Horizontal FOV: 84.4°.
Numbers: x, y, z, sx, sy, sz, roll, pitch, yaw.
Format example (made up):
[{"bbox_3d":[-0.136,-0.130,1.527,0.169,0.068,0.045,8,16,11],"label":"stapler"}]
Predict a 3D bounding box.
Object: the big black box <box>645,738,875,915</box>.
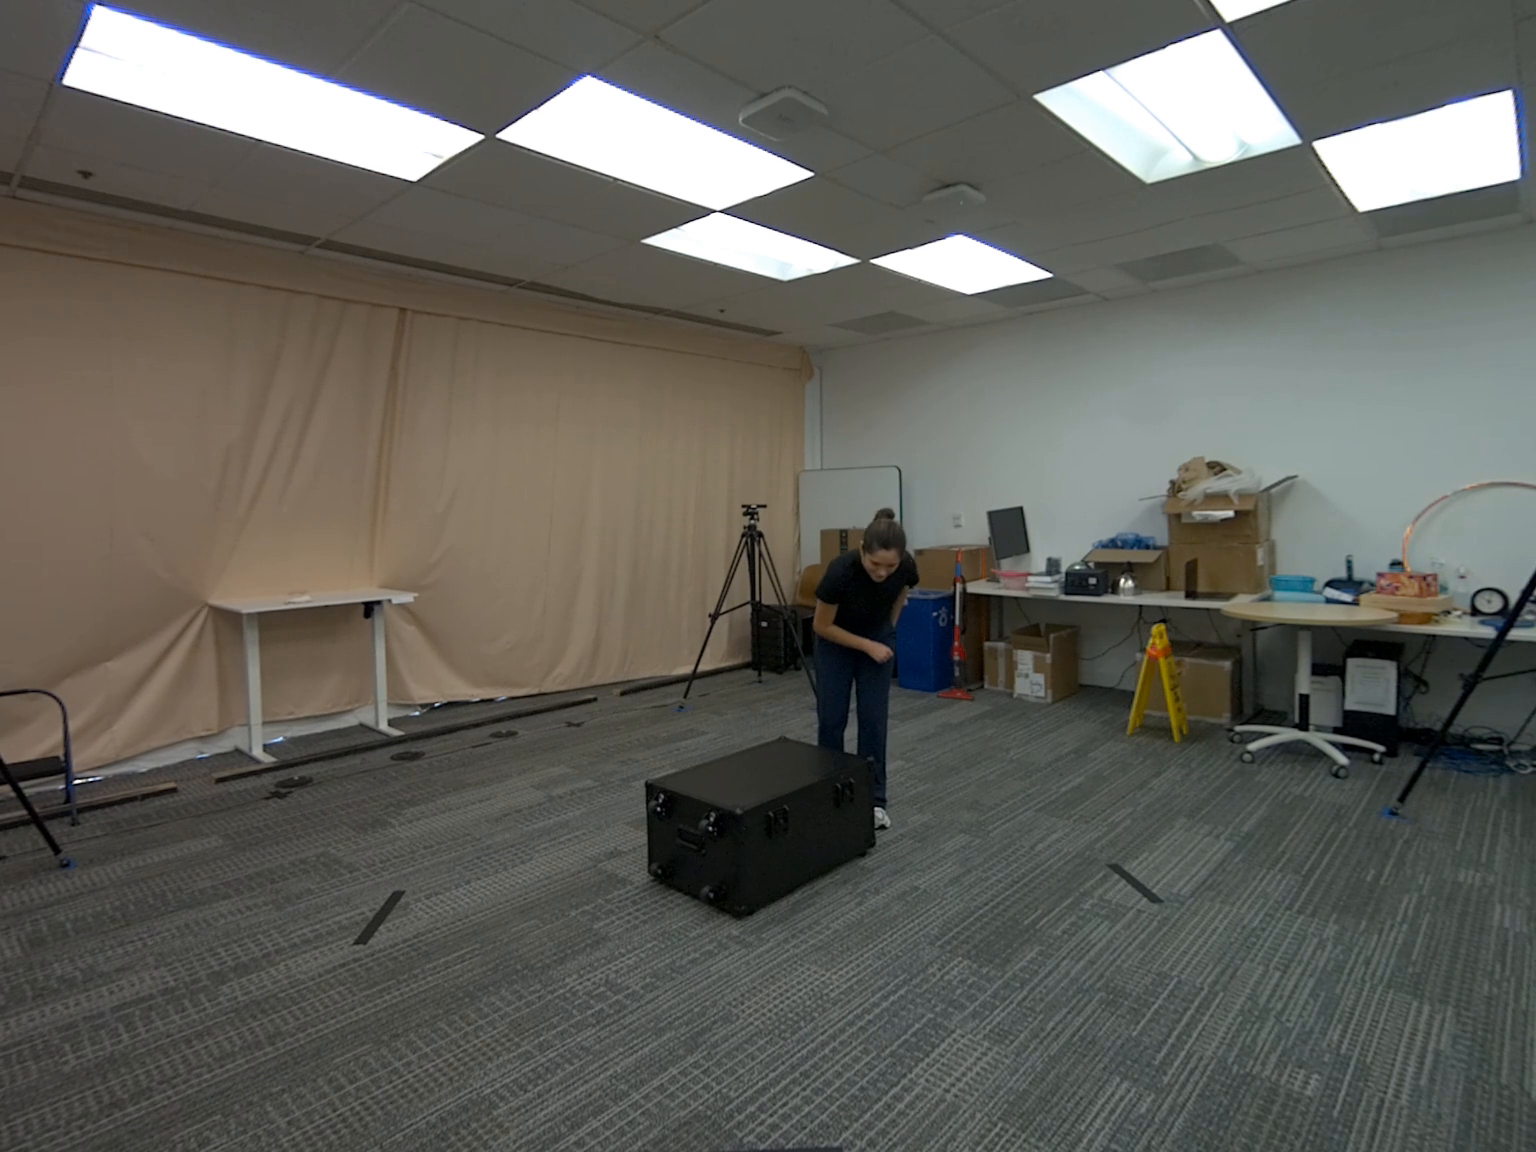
[{"bbox_3d":[-0.026,0.930,3.215,0.538,0.395,0.835,2,5,43],"label":"big black box"}]
